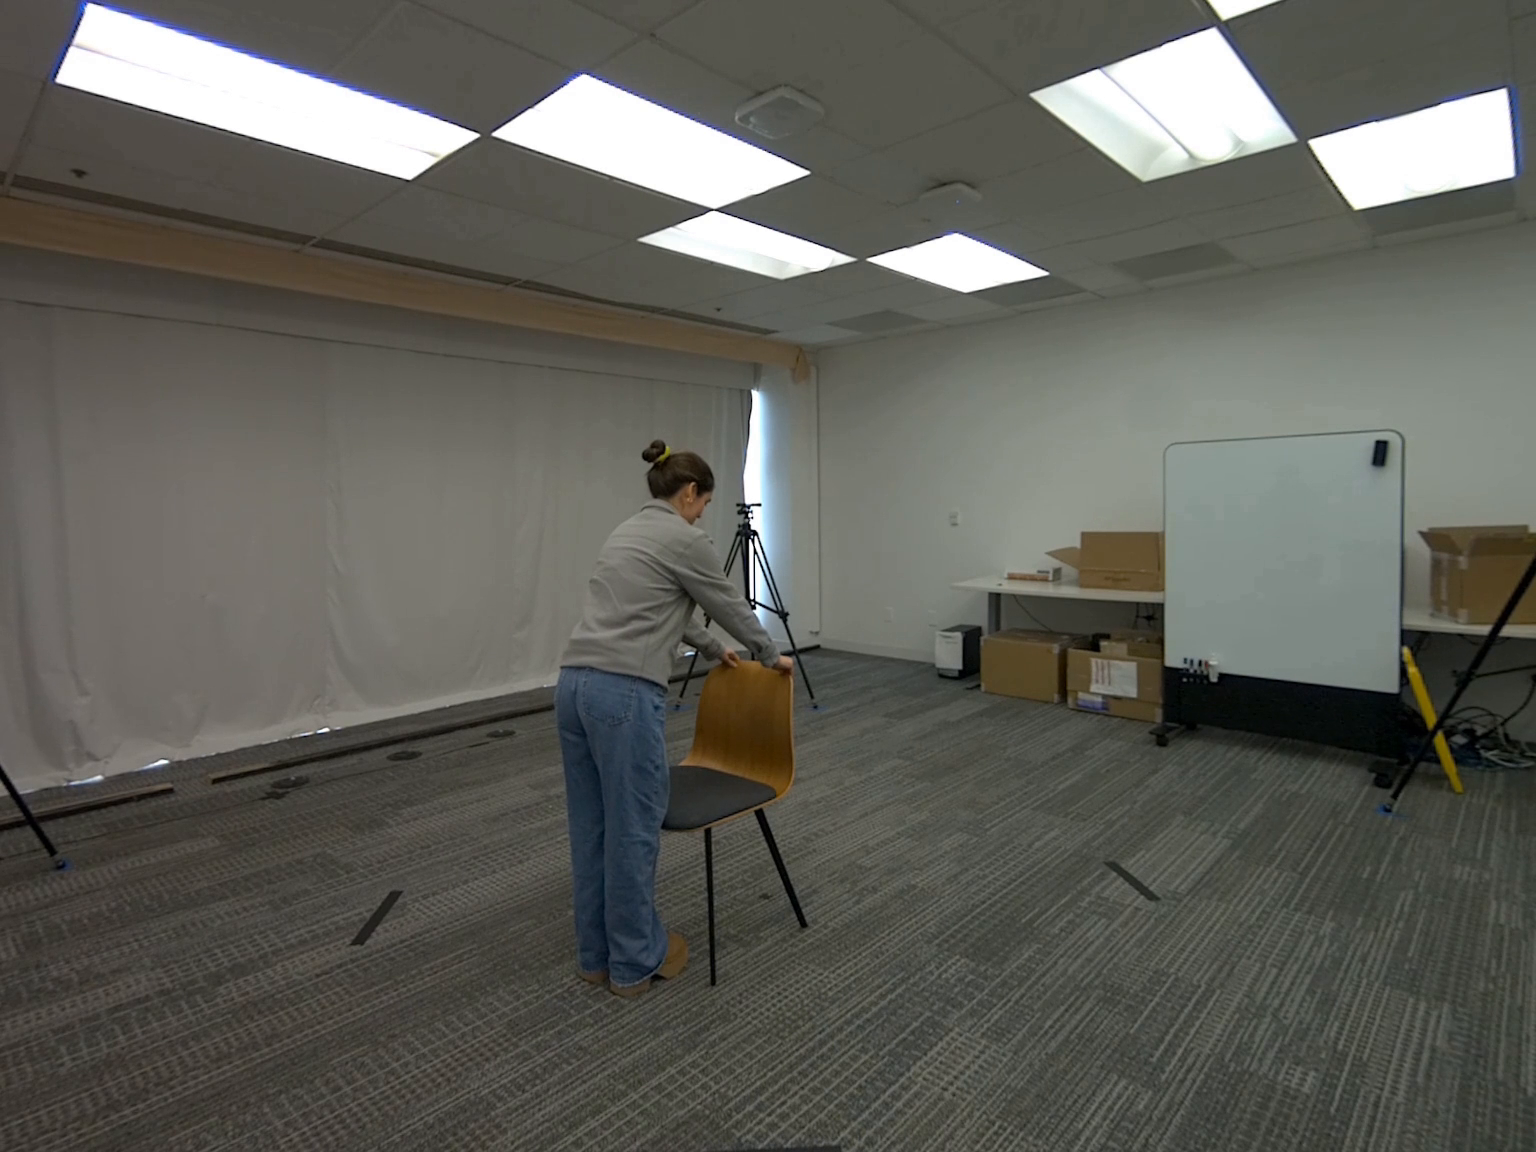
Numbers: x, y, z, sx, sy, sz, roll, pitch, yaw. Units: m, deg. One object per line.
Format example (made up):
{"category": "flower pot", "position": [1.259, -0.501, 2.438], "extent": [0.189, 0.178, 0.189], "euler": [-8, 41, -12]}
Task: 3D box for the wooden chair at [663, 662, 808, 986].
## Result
{"category": "wooden chair", "position": [-0.191, 0.737, 2.718], "extent": [0.494, 0.877, 0.506], "euler": [2, 1, 41]}
